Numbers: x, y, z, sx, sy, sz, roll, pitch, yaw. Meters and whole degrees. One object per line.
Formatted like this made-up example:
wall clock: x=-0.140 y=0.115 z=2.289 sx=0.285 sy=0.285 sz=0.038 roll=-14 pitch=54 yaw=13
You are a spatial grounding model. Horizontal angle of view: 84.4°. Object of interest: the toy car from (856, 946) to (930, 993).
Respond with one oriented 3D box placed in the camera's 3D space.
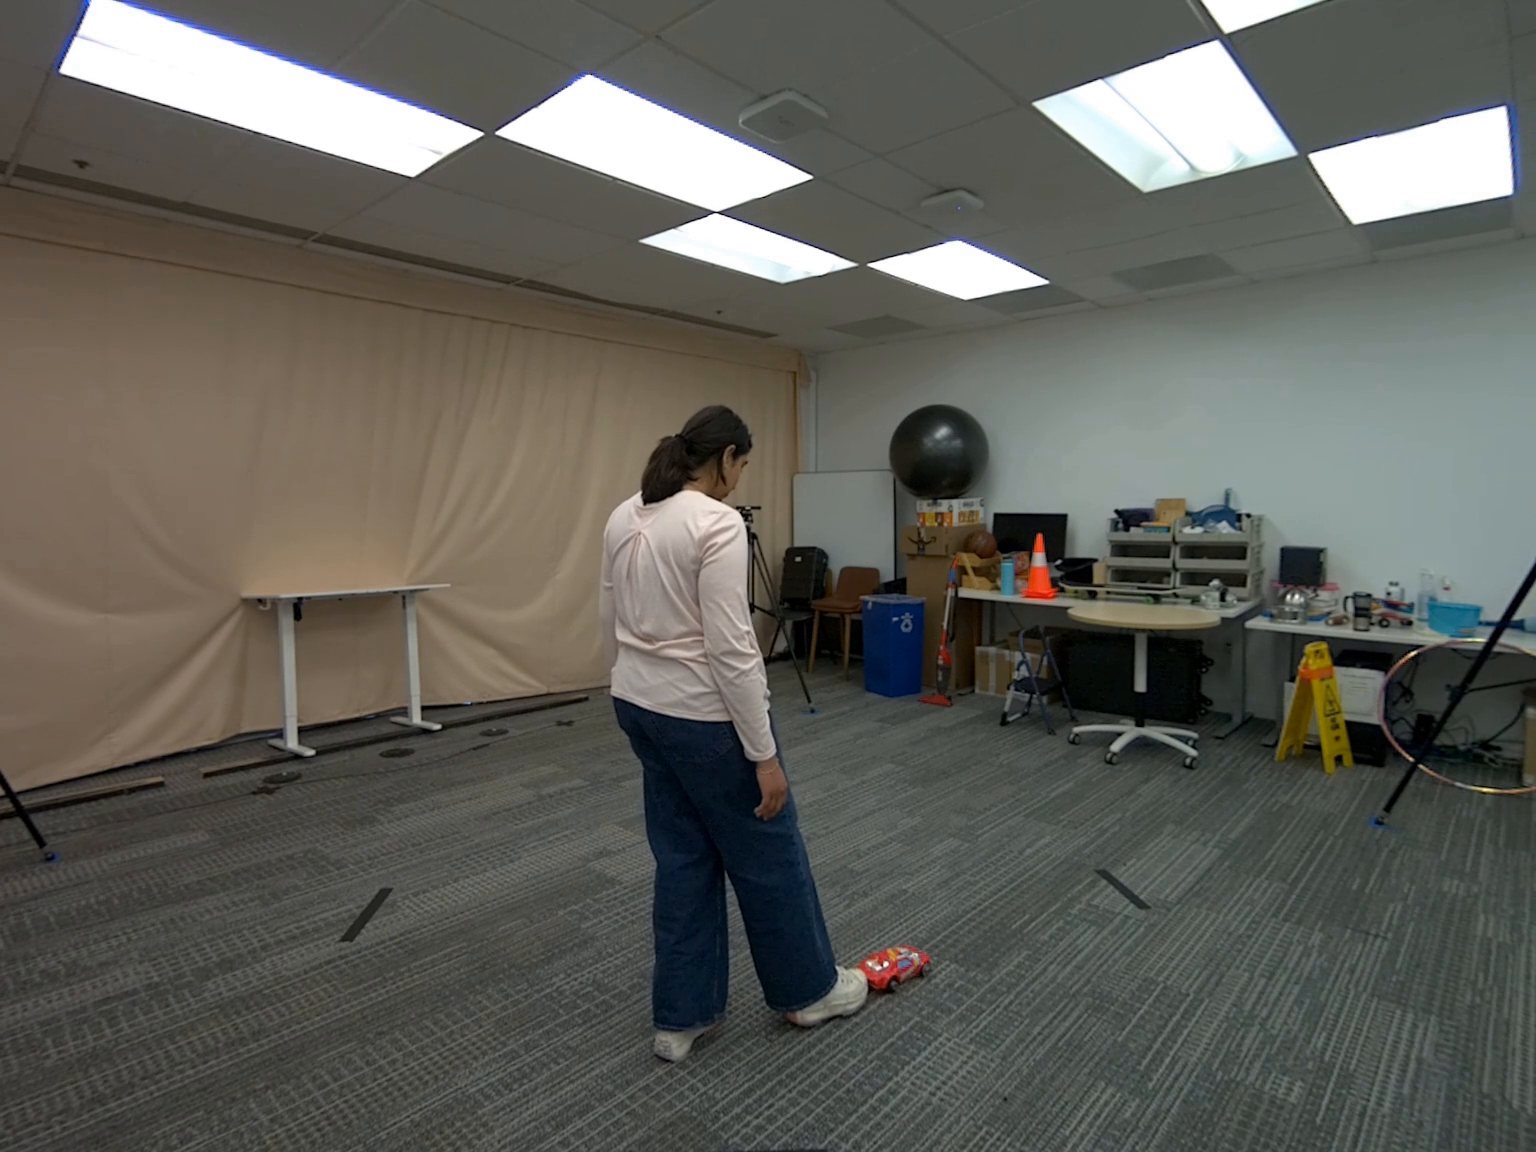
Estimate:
toy car: x=0.366 y=1.155 z=2.470 sx=0.246 sy=0.083 sz=0.134 roll=12 pitch=-3 yaw=-37
